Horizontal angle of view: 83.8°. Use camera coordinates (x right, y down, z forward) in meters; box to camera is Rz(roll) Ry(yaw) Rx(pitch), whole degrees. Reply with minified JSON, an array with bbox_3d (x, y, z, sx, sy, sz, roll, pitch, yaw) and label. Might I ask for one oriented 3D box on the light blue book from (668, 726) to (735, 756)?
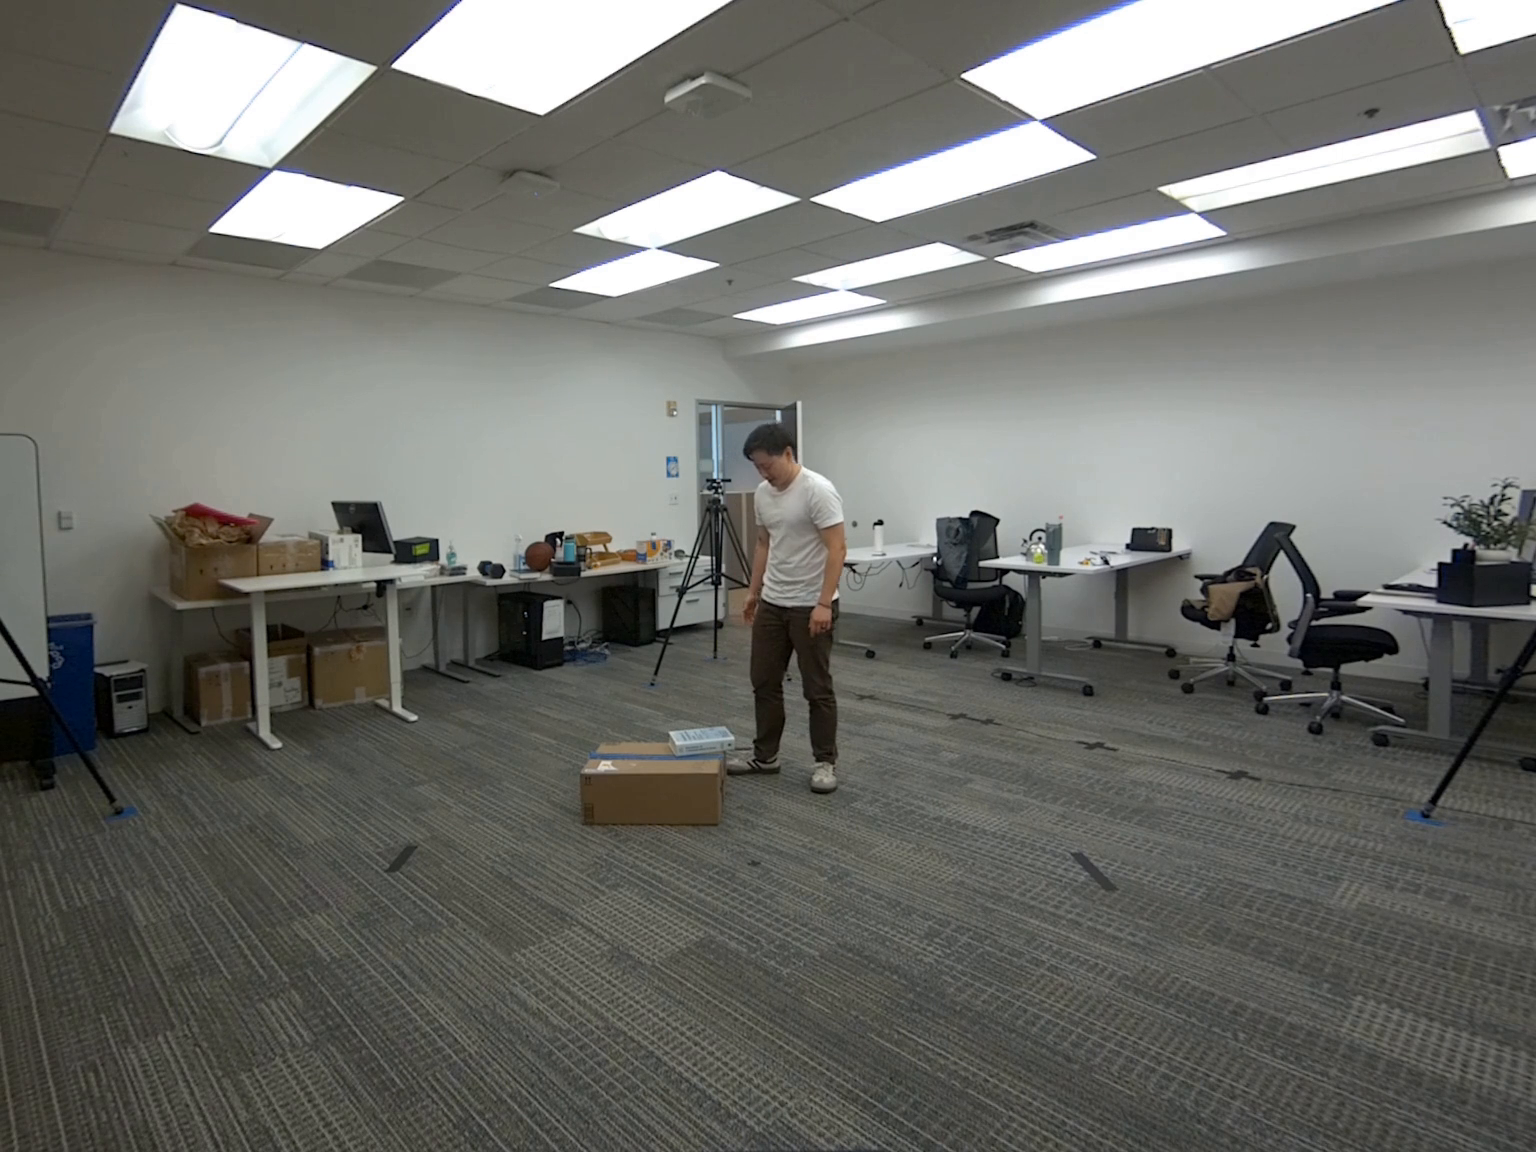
[{"bbox_3d":[-0.294,0.732,3.786,0.257,0.059,0.195,-3,6,-15],"label":"light blue book"}]
